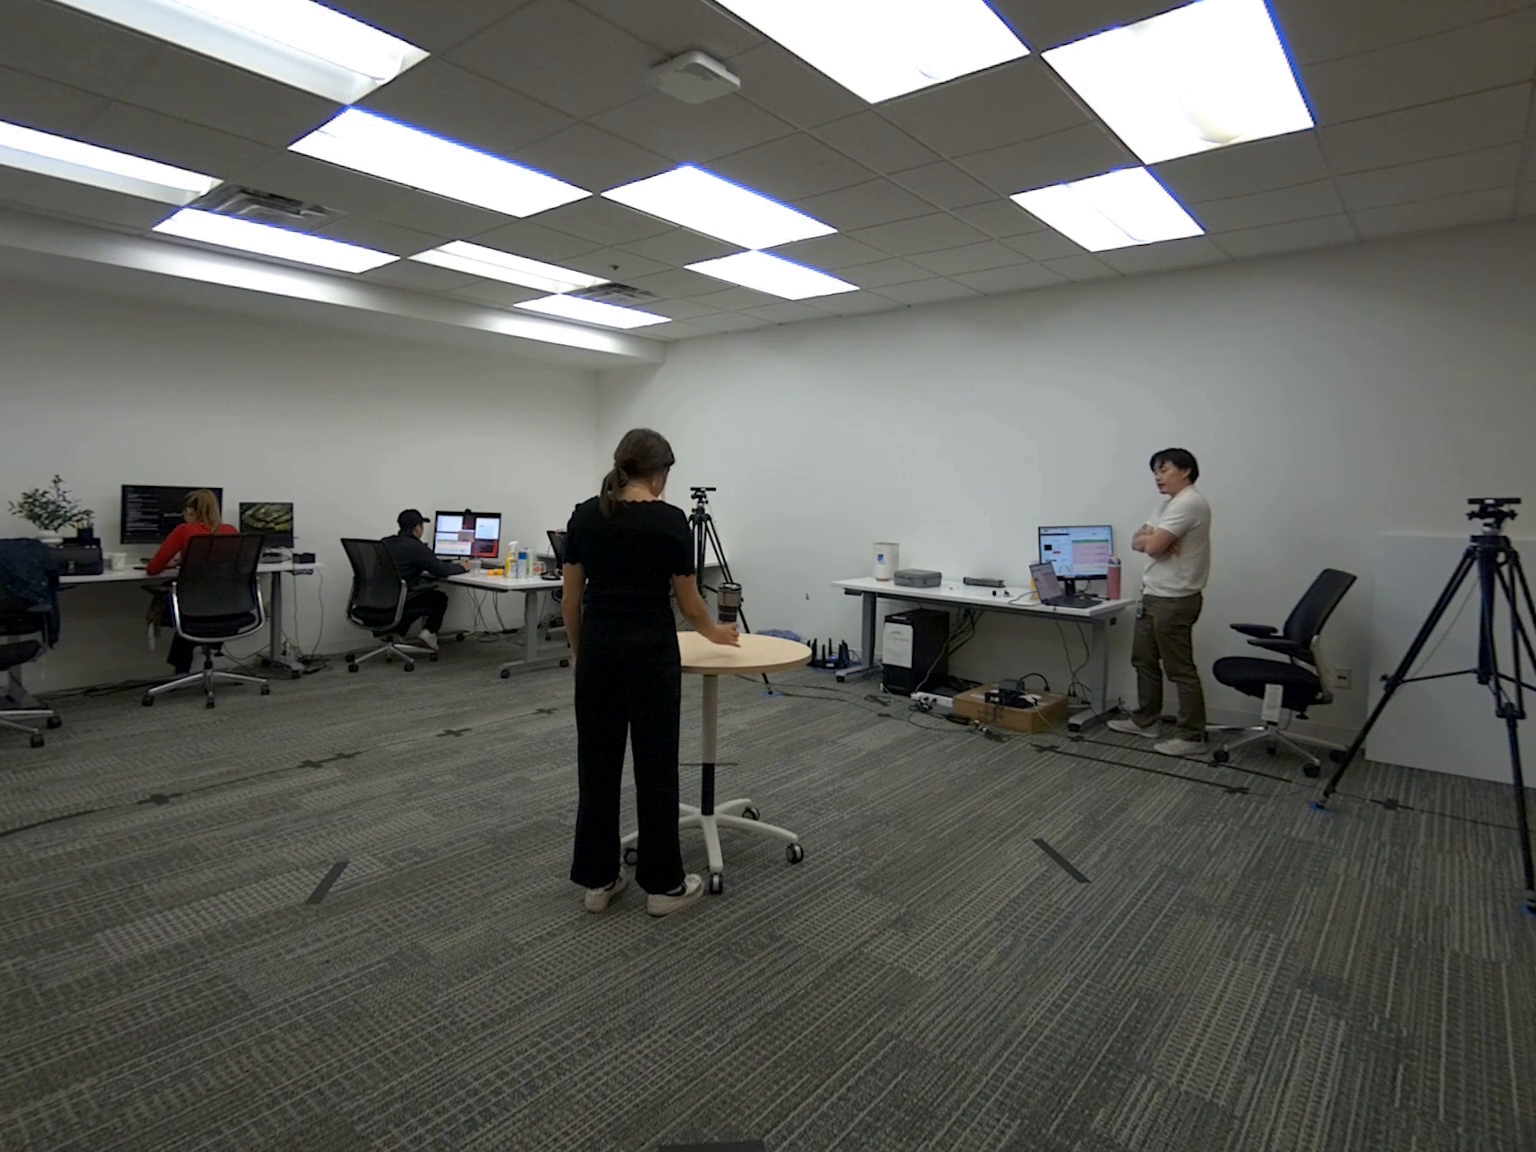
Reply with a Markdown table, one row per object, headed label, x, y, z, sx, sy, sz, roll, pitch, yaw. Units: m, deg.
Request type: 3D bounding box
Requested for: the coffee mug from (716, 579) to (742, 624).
| label | x | y | z | sx | sy | sz | roll | pitch | yaw |
| --- | --- | --- | --- | --- | --- | --- | --- | --- | --- |
| coffee mug | -0.141 | 0.130 | 3.098 | 0.091 | 0.201 | 0.119 | 9 | 12 | 35 |
